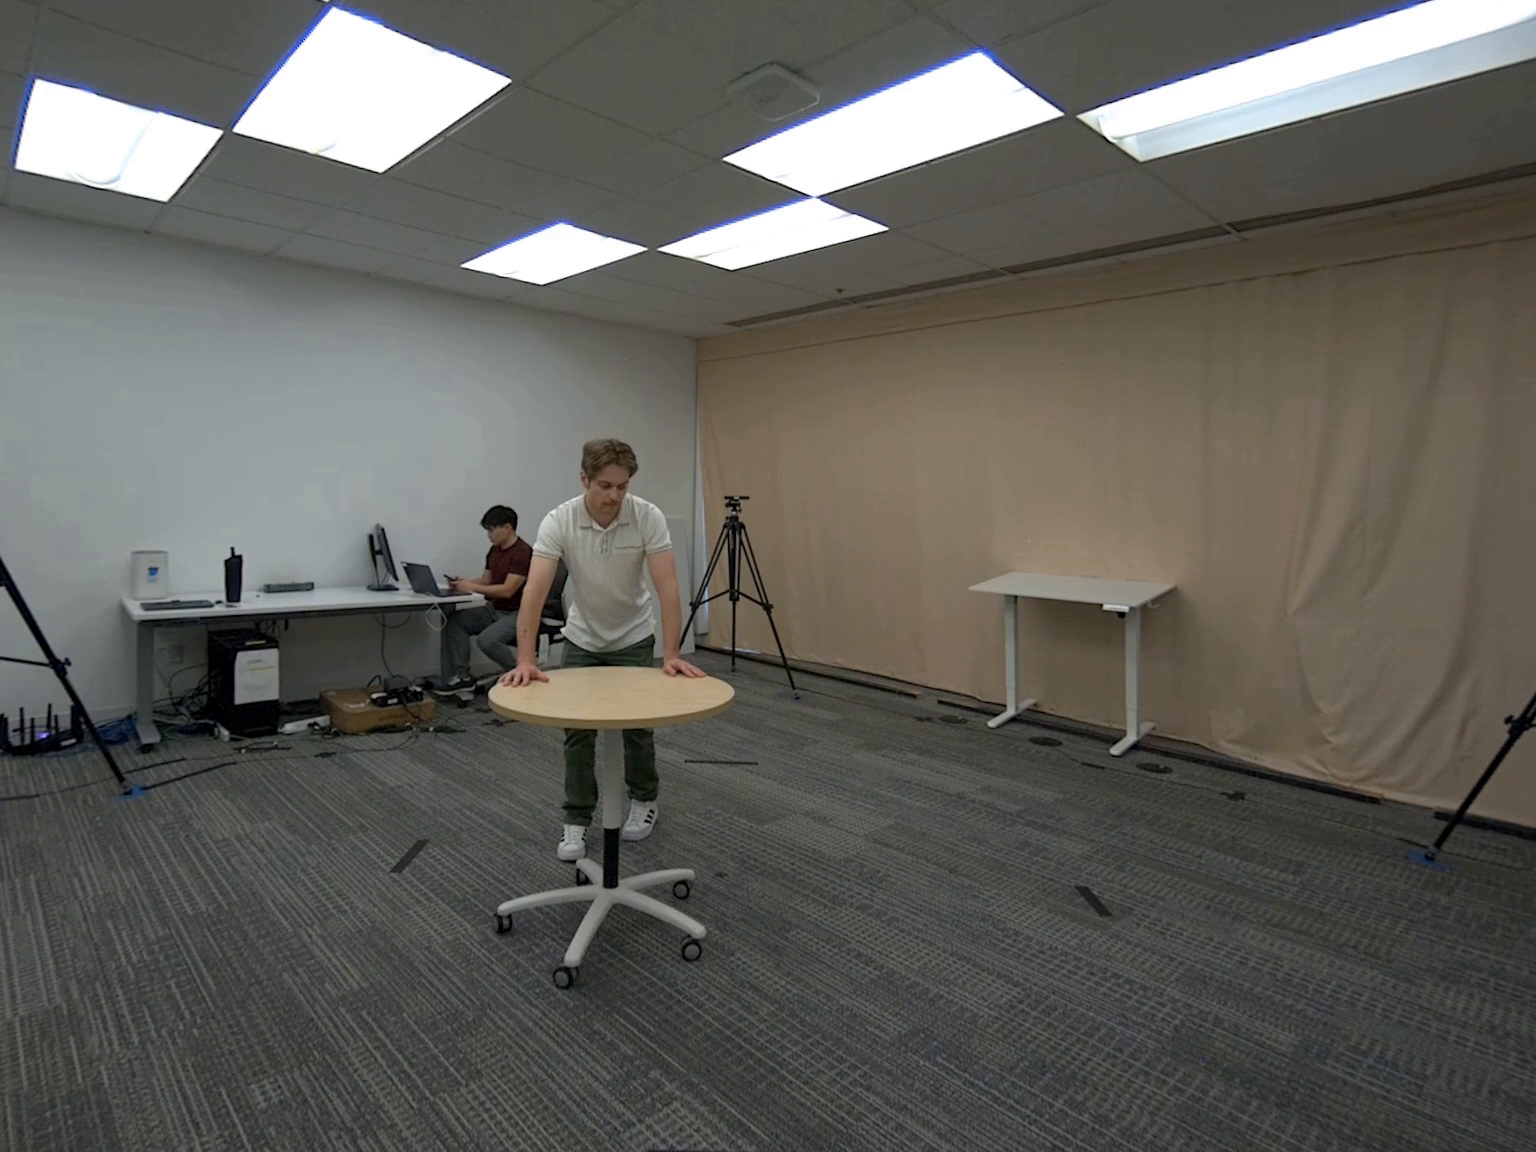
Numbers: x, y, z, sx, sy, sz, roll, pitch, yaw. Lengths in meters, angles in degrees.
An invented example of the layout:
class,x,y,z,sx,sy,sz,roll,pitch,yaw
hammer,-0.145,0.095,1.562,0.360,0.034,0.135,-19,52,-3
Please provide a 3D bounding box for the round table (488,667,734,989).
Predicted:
class,x,y,z,sx,sy,sz,roll,pitch,yaw
round table,-0.501,0.752,2.678,0.763,0.792,0.766,1,4,-1
